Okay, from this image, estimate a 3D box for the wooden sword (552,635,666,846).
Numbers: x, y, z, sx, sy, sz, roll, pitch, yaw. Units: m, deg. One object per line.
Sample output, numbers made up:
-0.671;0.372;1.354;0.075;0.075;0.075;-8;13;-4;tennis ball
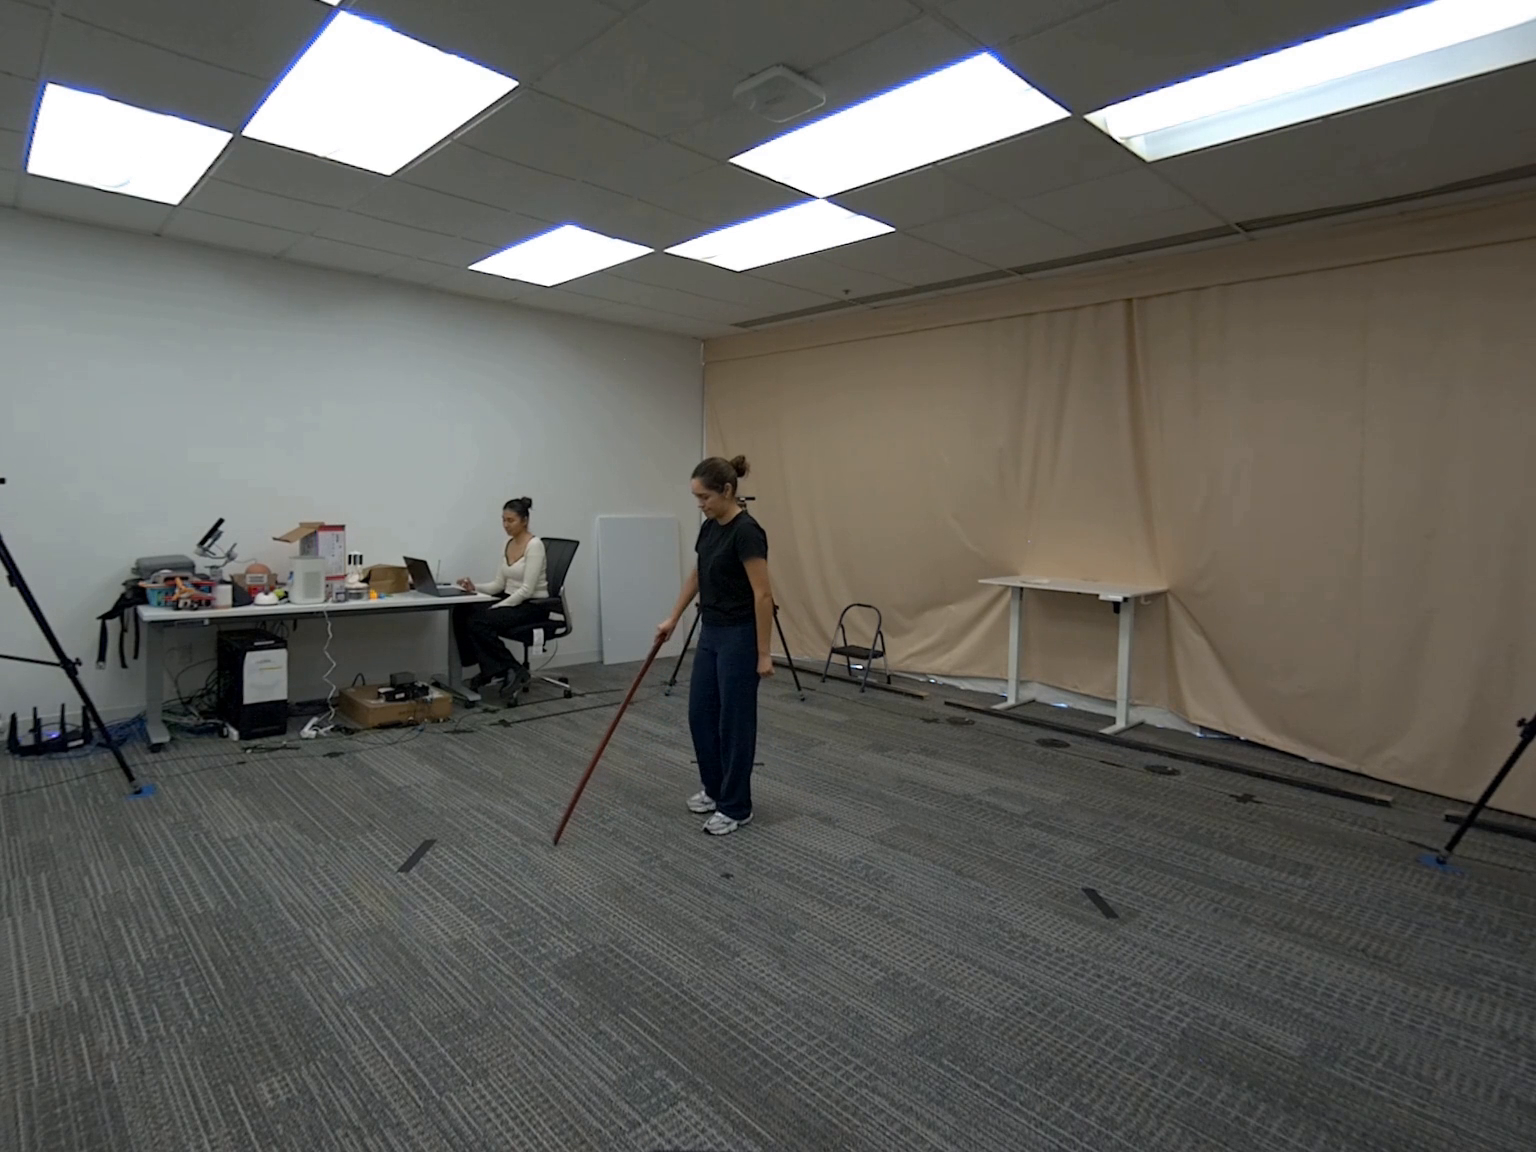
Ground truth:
-0.659;0.642;3.539;0.052;1.032;0.023;-4;-38;45;wooden sword
